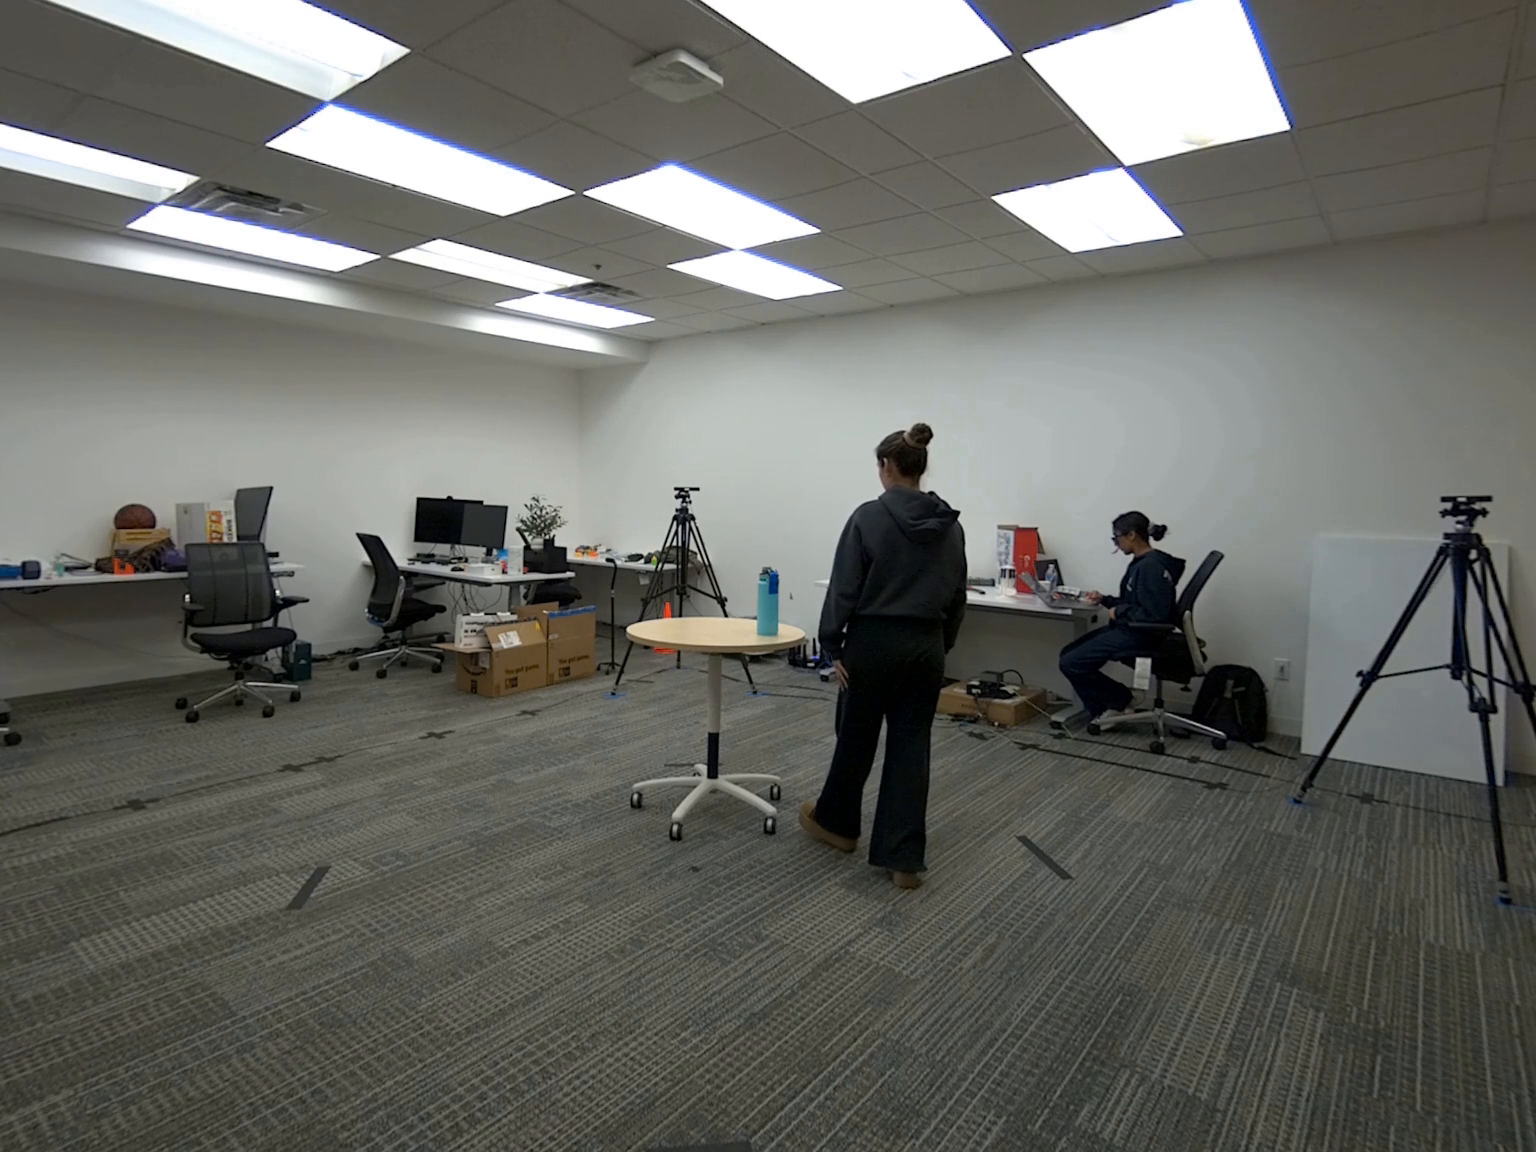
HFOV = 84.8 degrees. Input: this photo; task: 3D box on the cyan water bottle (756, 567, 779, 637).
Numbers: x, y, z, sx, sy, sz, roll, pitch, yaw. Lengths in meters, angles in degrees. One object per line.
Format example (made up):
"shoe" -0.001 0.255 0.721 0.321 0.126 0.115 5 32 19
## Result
"cyan water bottle" -0.002 0.103 3.576 0.092 0.282 0.093 3 3 -2
